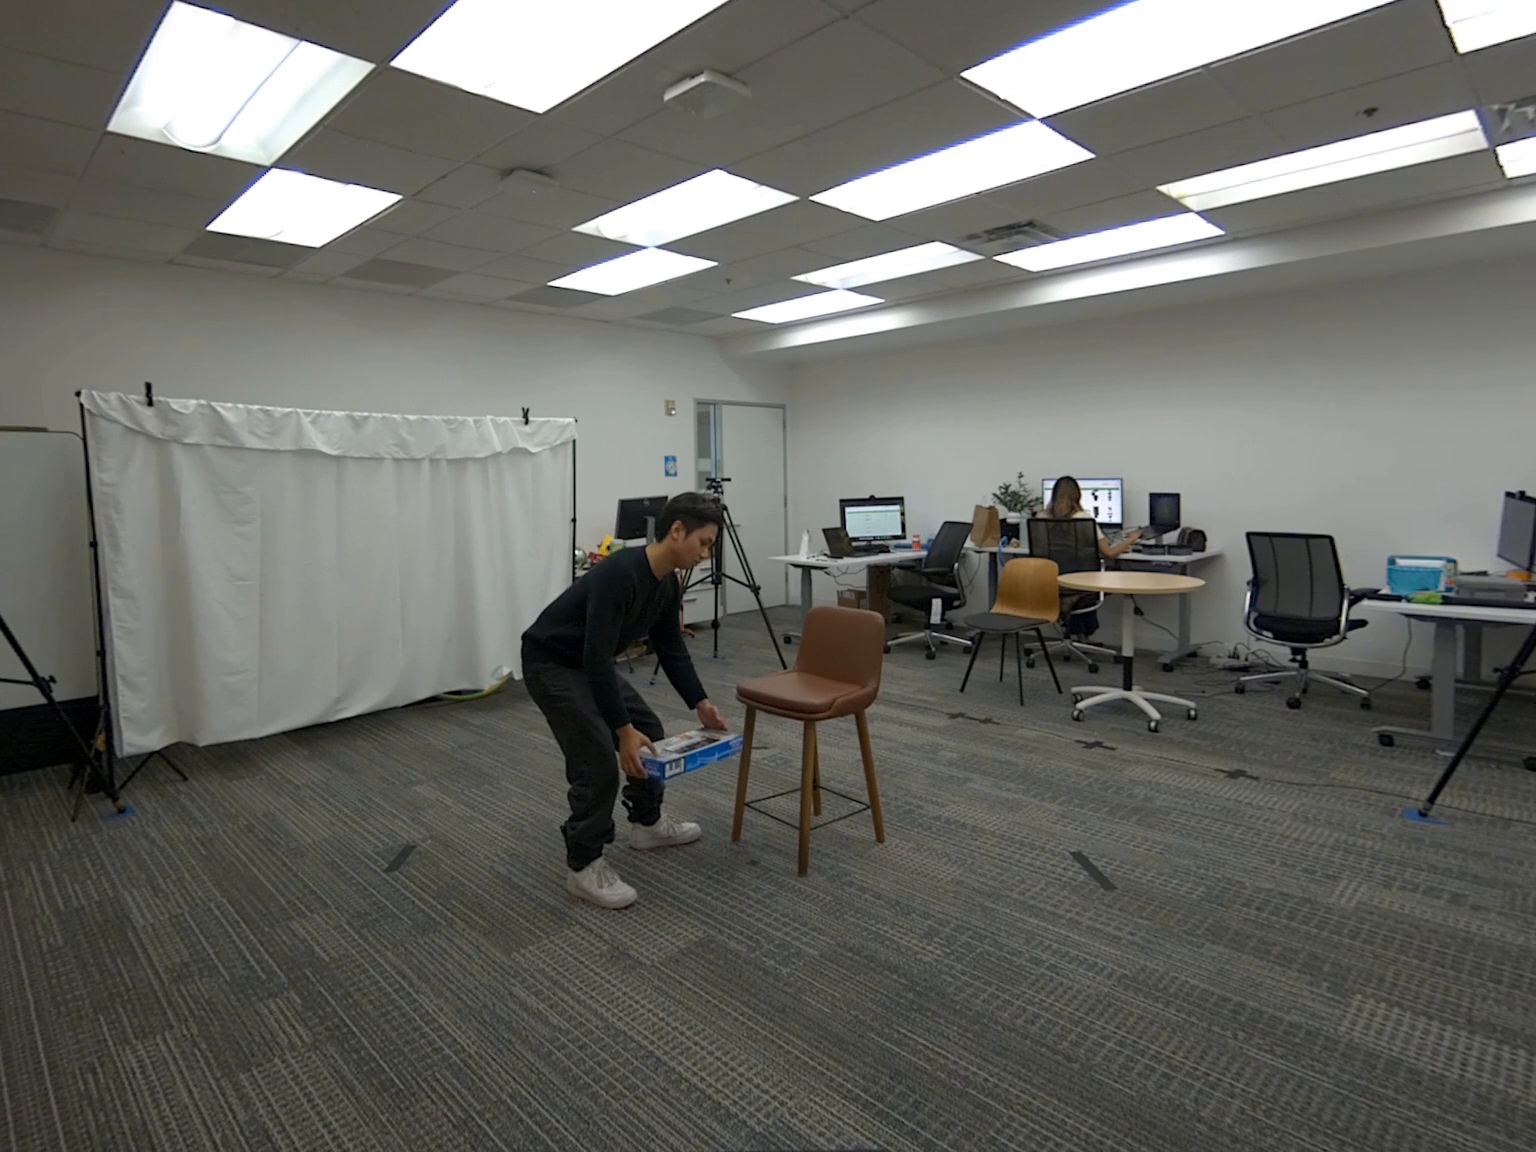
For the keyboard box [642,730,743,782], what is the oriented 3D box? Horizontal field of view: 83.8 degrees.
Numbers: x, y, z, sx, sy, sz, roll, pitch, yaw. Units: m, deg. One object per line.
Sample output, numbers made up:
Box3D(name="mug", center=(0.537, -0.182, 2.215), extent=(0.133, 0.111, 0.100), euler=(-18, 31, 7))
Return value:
Box3D(name="keyboard box", center=(-0.279, 0.589, 2.870), extent=(0.181, 0.059, 0.425), euler=(6, 6, 34))
